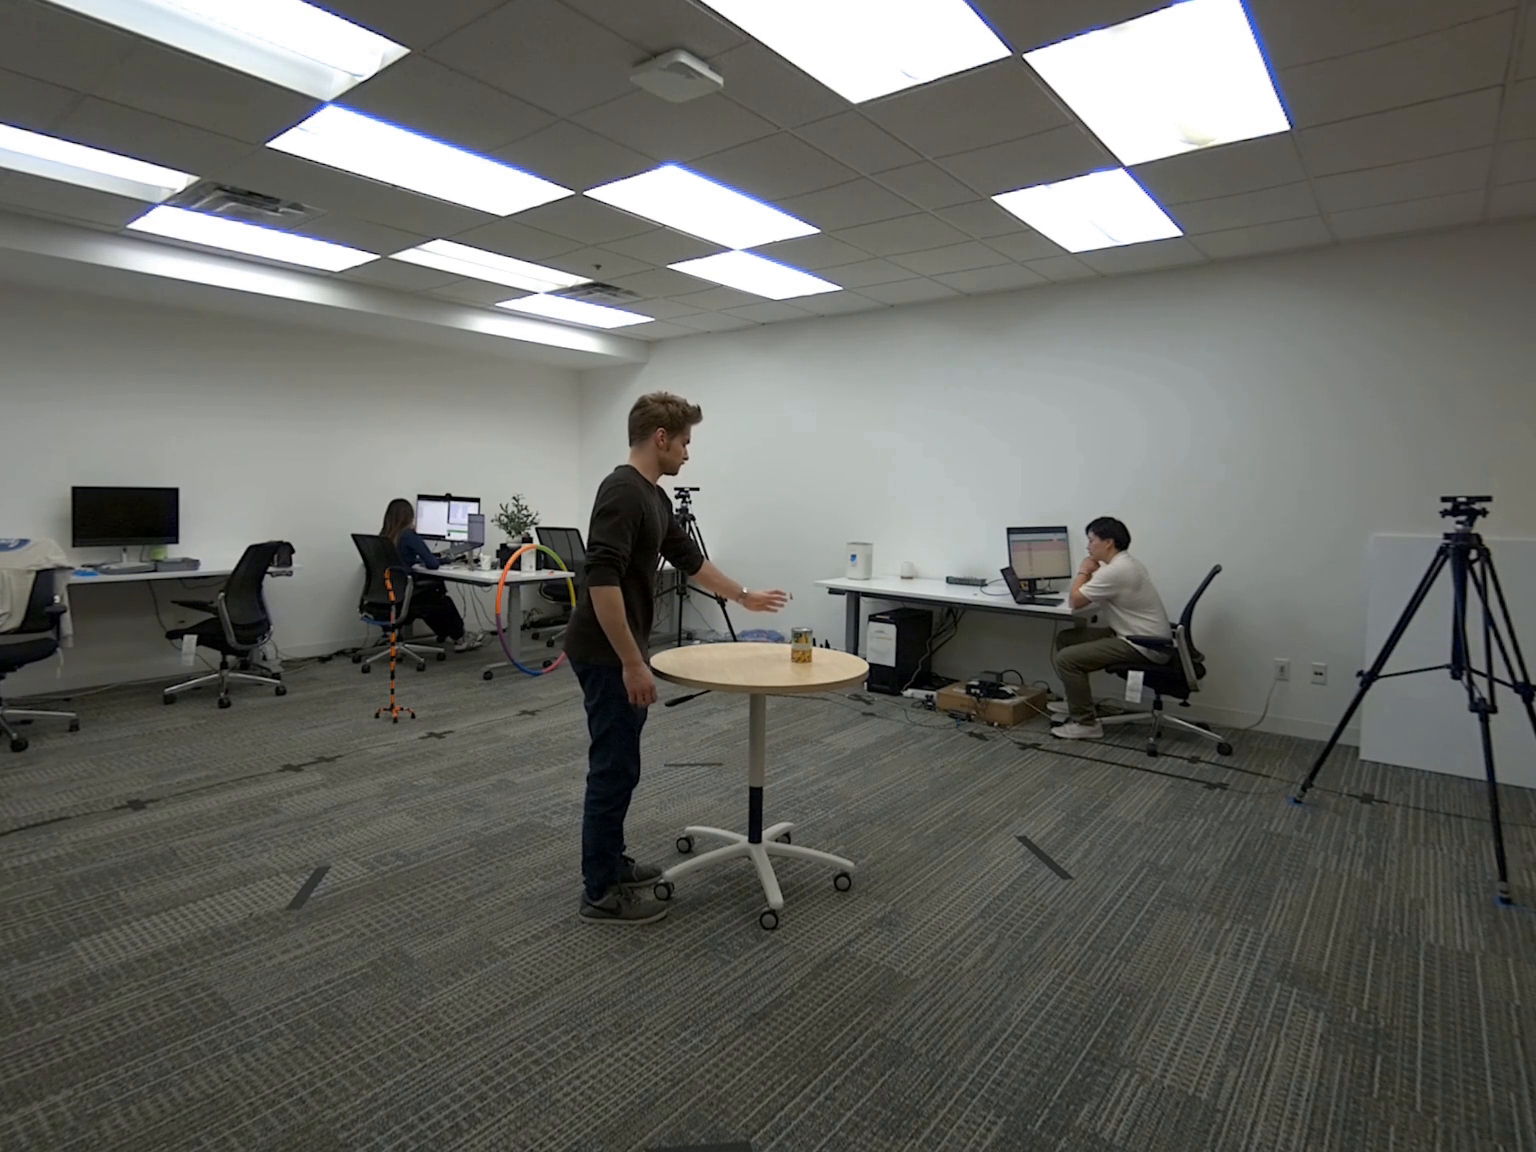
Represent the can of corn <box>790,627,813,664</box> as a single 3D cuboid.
[{"bbox_3d":[0.111,0.243,3.003,0.074,0.111,0.074,1,3,-2],"label":"can of corn"}]
